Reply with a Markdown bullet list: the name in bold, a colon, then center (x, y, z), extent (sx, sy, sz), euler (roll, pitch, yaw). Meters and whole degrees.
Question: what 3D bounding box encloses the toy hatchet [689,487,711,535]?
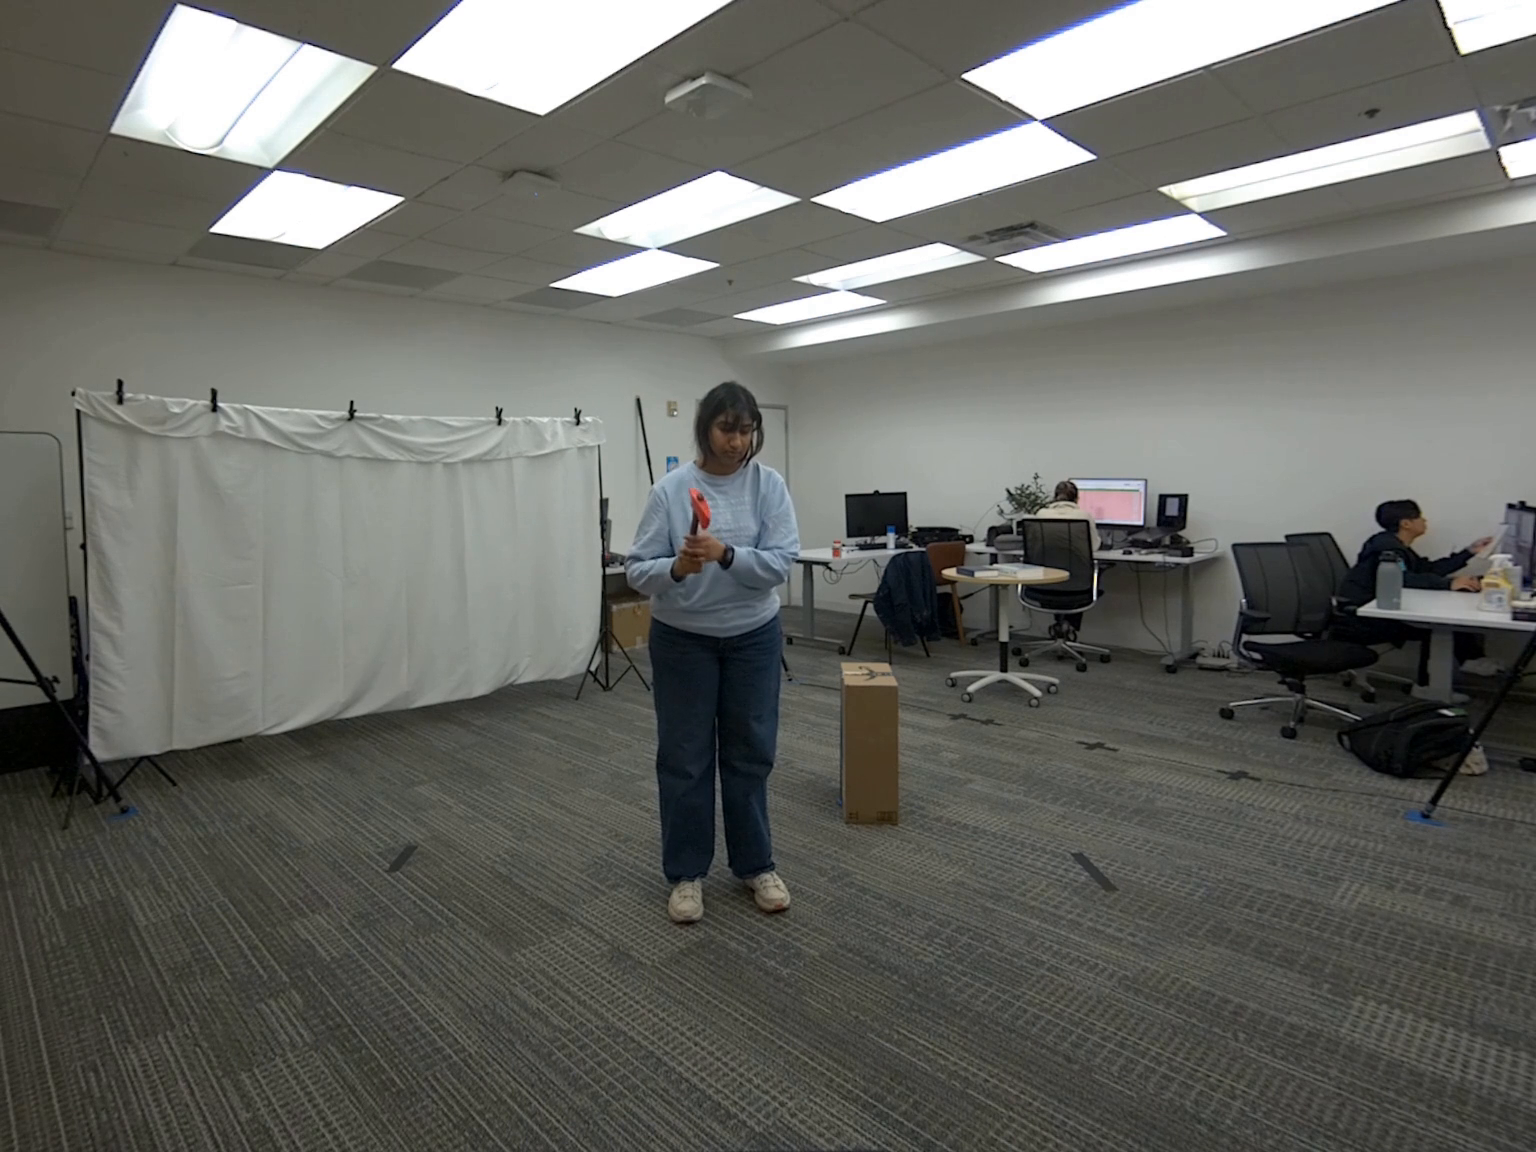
- **toy hatchet**: center (-0.191, -0.107, 2.380), extent (0.029, 0.264, 0.136), euler (-14, 34, -26)
